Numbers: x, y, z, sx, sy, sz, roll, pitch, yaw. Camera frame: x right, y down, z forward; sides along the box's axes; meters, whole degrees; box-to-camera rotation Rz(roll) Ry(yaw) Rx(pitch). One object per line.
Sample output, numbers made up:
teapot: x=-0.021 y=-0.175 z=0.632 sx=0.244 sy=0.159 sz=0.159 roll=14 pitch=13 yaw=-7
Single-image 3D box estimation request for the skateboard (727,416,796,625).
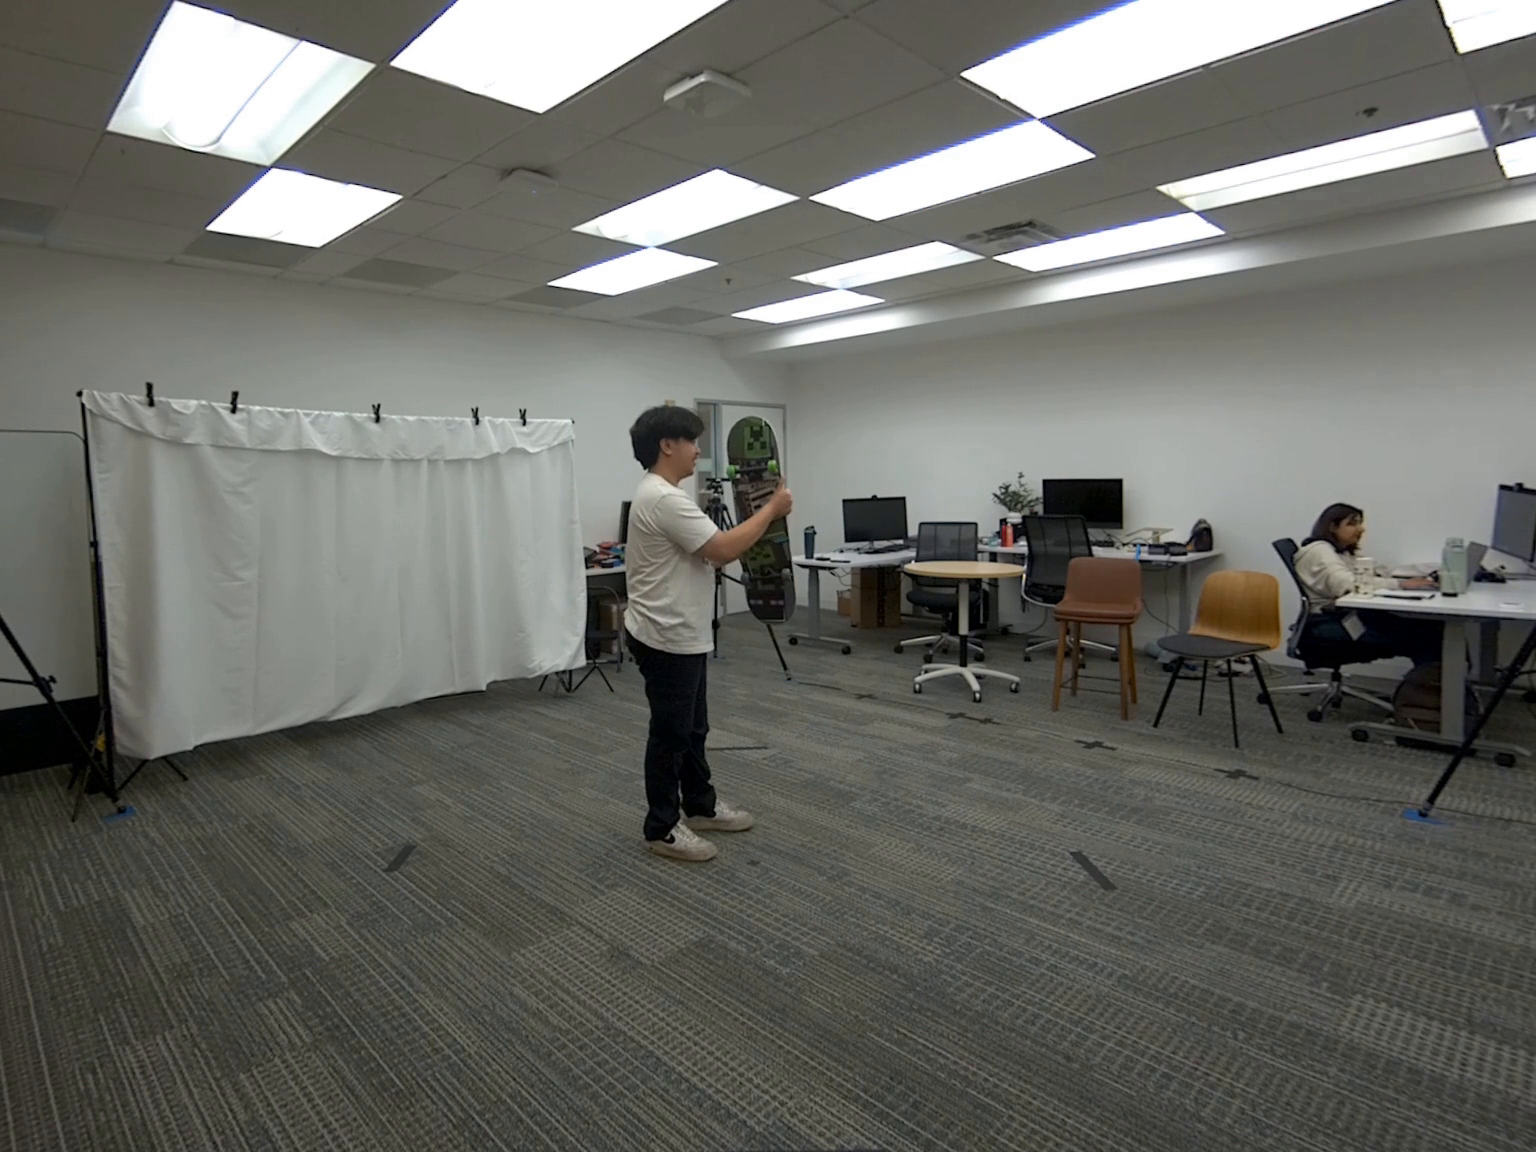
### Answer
skateboard: x=-0.027 y=-0.190 z=3.154 sx=0.196 sy=0.780 sz=0.109 roll=-5 pitch=6 yaw=16
